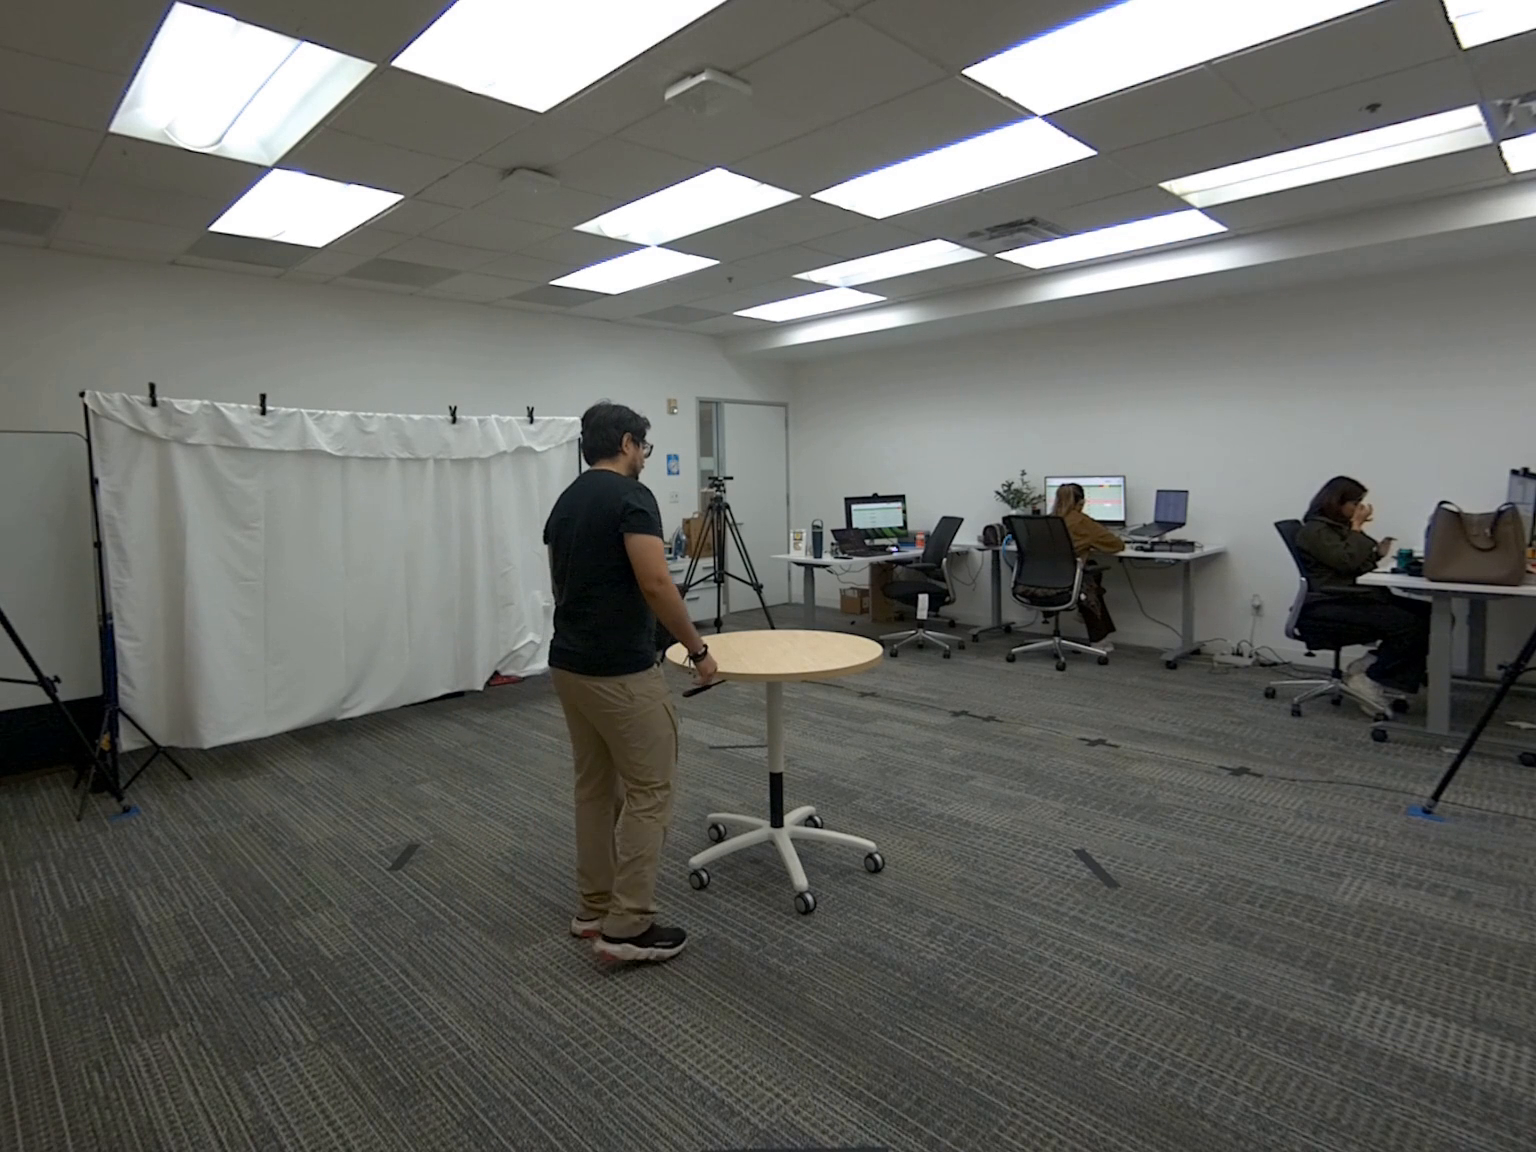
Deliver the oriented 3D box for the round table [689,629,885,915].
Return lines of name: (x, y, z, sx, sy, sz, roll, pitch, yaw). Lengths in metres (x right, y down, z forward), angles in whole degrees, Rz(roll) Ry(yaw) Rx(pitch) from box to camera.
round table: (0.025, 0.646, 3.071, 0.784, 0.783, 0.789, -1, 5, -2)
